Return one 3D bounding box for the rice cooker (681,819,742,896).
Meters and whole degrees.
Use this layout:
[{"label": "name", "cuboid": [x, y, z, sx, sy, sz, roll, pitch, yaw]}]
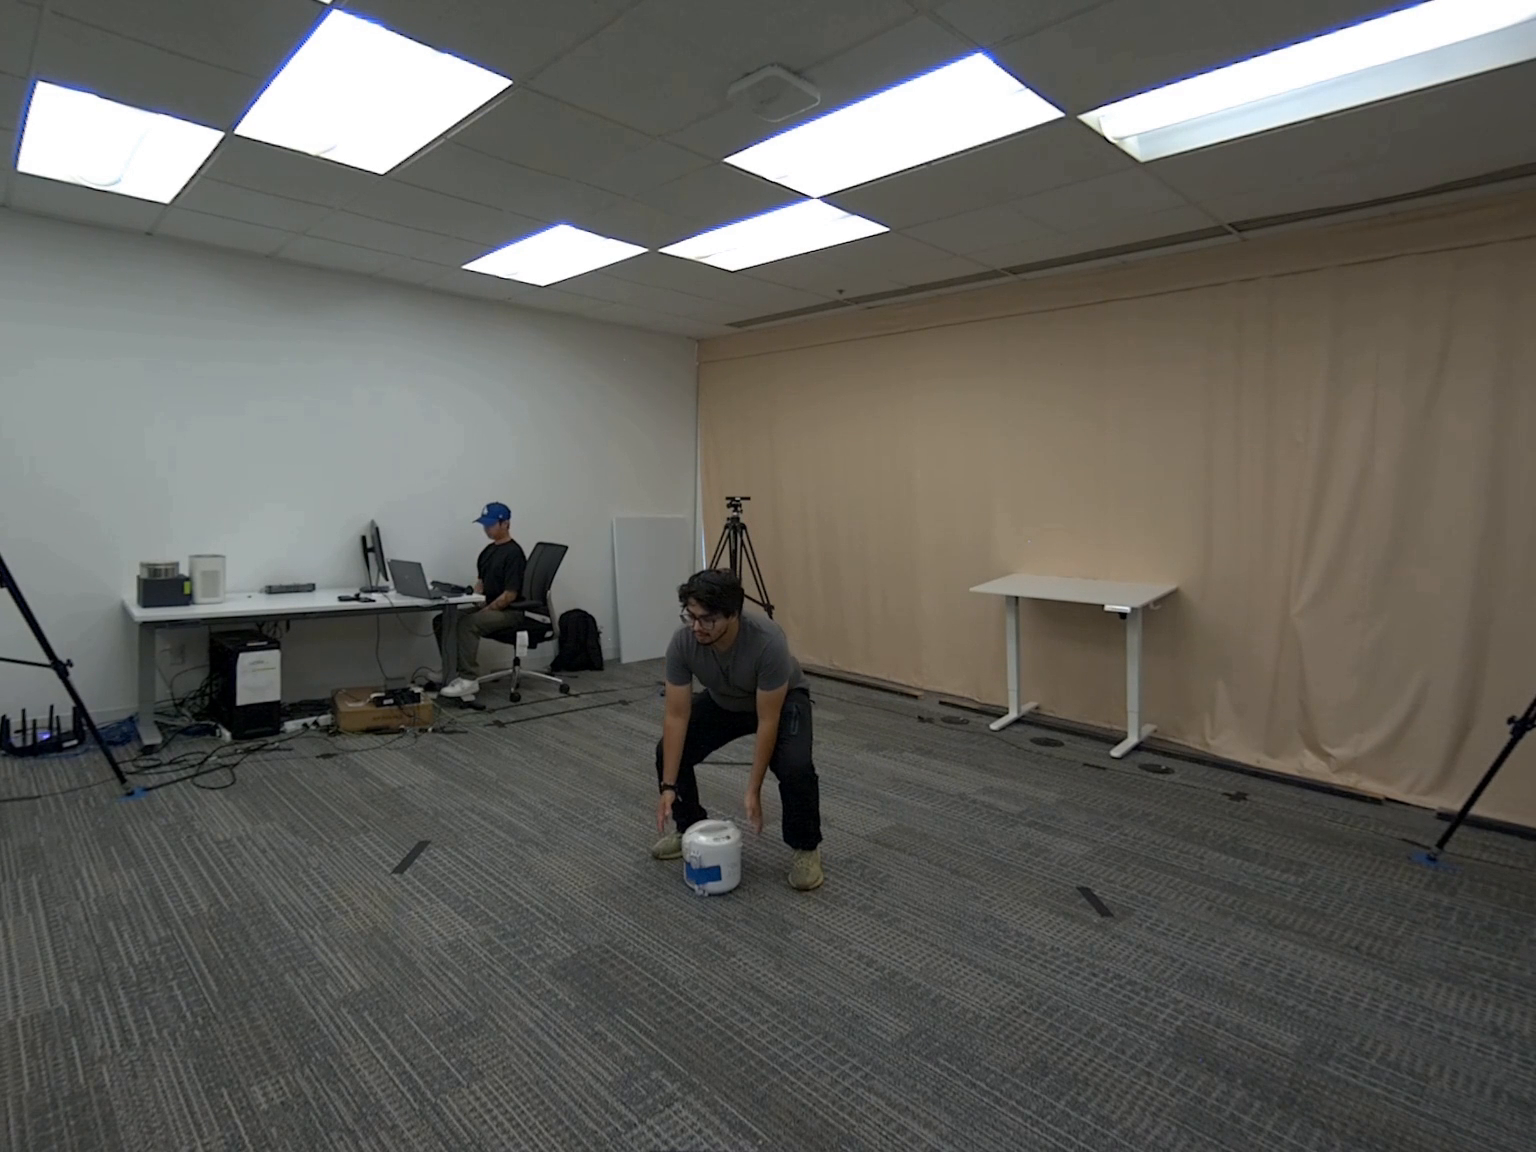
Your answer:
[{"label": "rice cooker", "cuboid": [-0.205, 0.990, 3.026, 0.217, 0.232, 0.221, 2, 4, -20]}]
